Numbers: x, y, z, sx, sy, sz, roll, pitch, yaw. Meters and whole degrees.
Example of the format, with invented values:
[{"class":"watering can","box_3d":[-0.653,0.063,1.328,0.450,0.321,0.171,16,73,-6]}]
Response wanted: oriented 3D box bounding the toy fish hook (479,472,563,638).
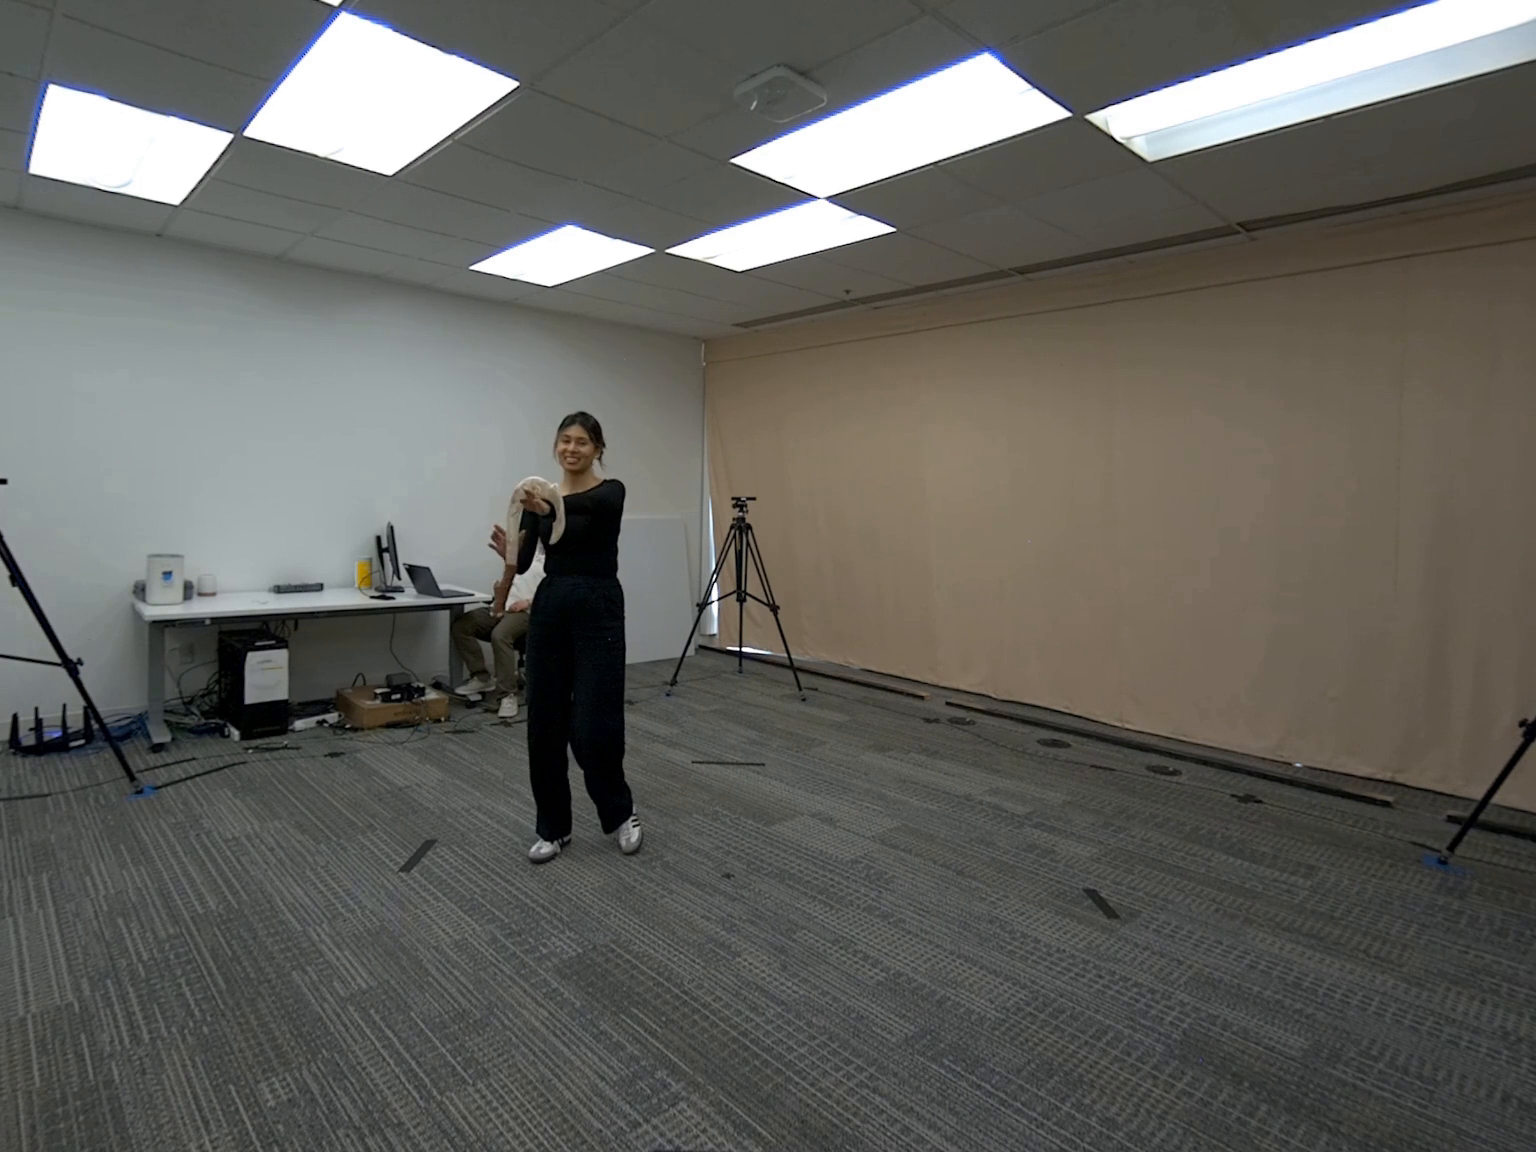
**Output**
[{"class":"toy fish hook","box_3d":[-0.795,-0.069,2.806,0.229,0.504,0.047,21,9,21]}]
